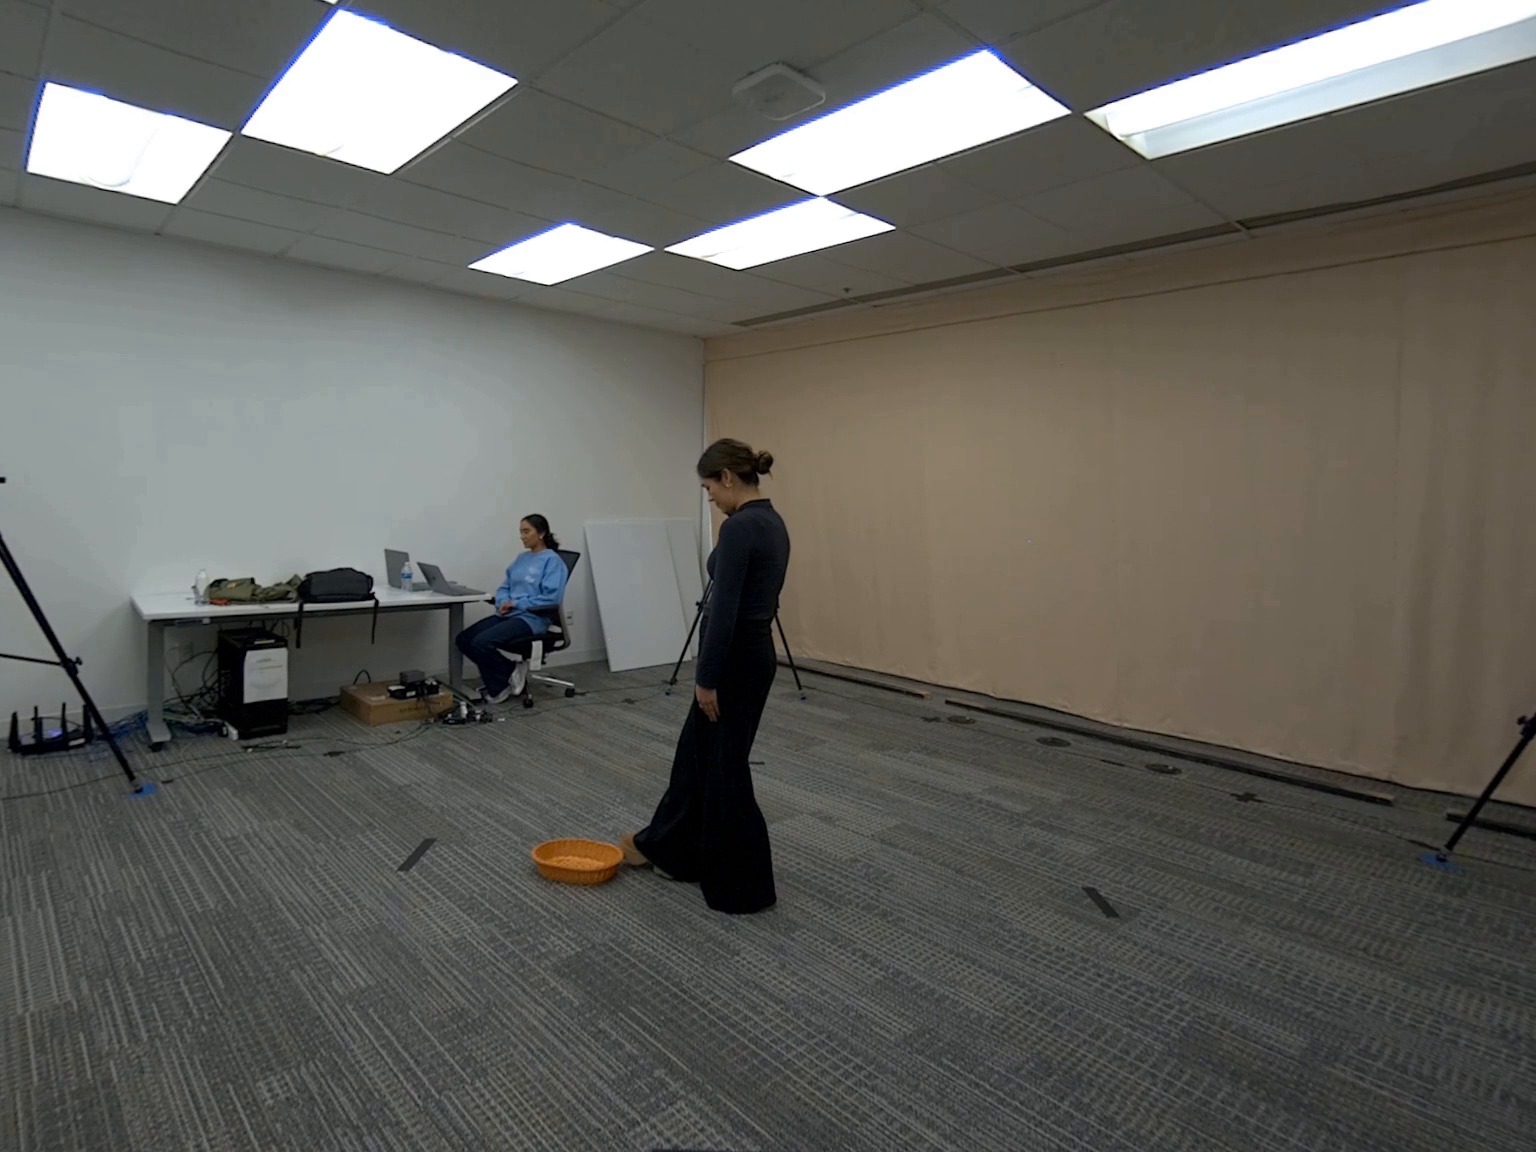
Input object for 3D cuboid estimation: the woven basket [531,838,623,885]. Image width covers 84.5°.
[{"bbox_3d":[-0.703,1.047,3.102,0.356,0.073,0.249,3,5,21],"label":"woven basket"}]
